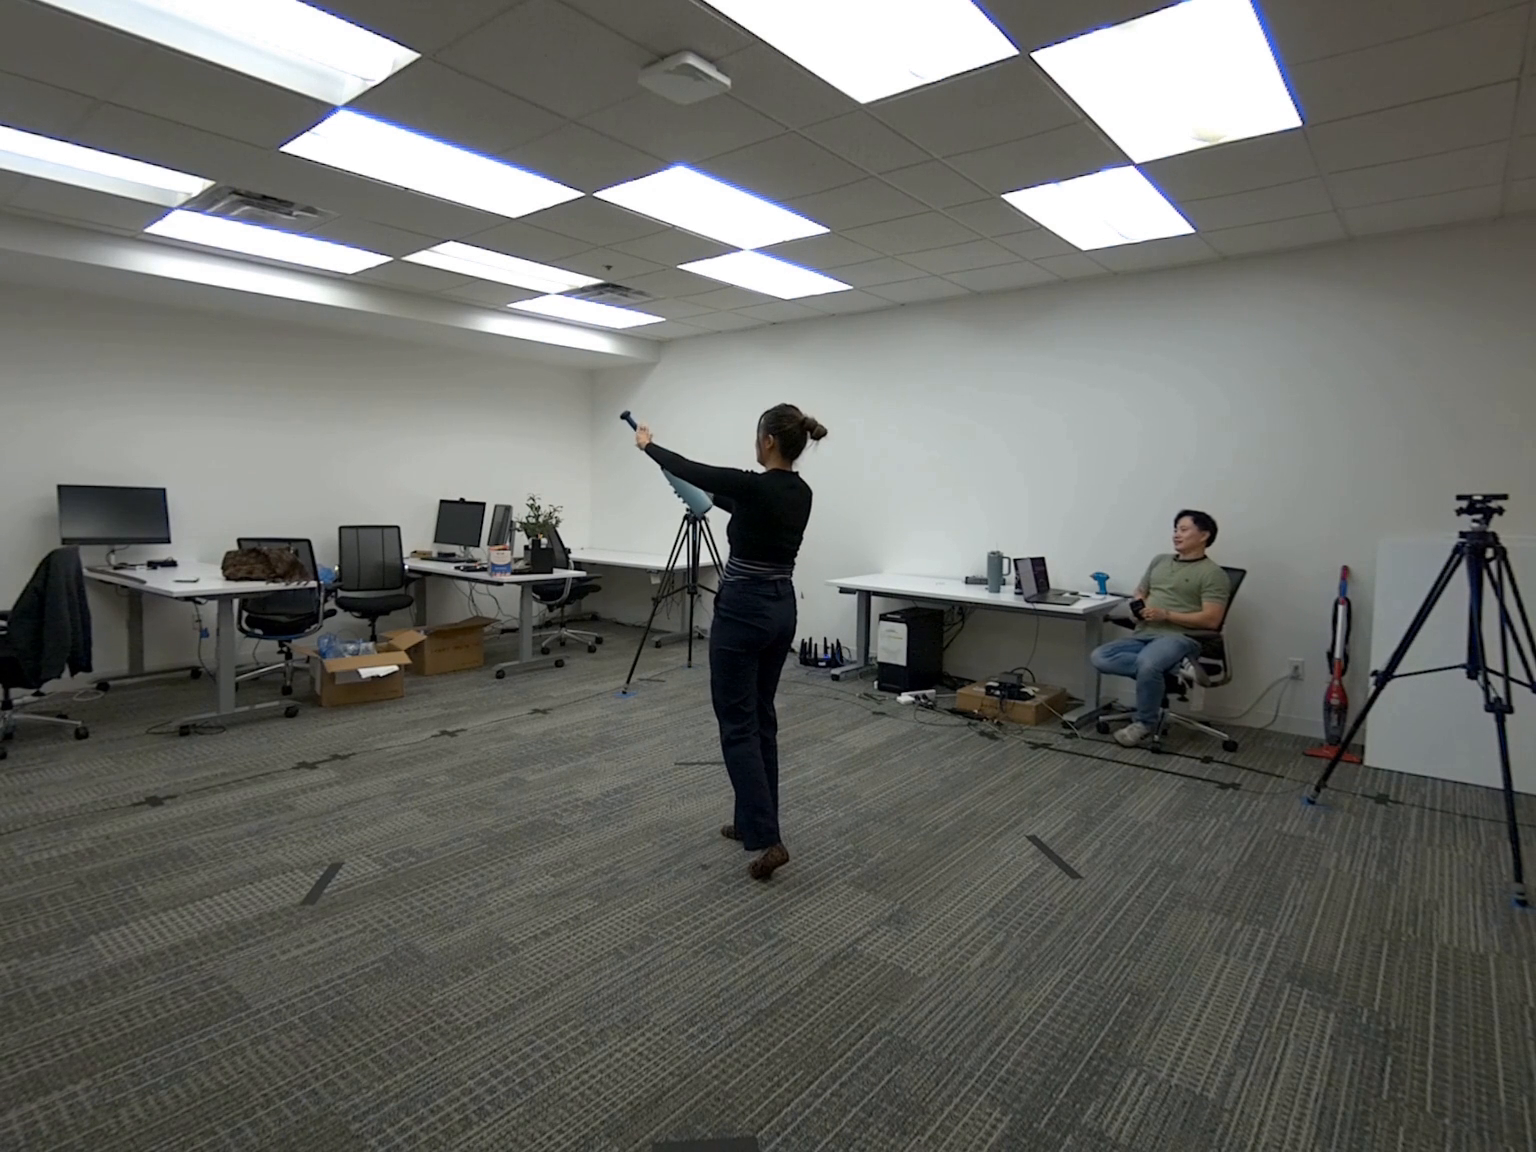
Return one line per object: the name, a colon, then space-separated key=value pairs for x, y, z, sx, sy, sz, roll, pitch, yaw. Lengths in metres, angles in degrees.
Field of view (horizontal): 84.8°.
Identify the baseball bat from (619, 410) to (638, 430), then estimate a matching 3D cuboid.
baseball bat: x=-0.441 y=-0.475 z=3.534 sx=0.089 sy=0.545 sz=0.089 roll=-40 pitch=-3 yaw=-3
